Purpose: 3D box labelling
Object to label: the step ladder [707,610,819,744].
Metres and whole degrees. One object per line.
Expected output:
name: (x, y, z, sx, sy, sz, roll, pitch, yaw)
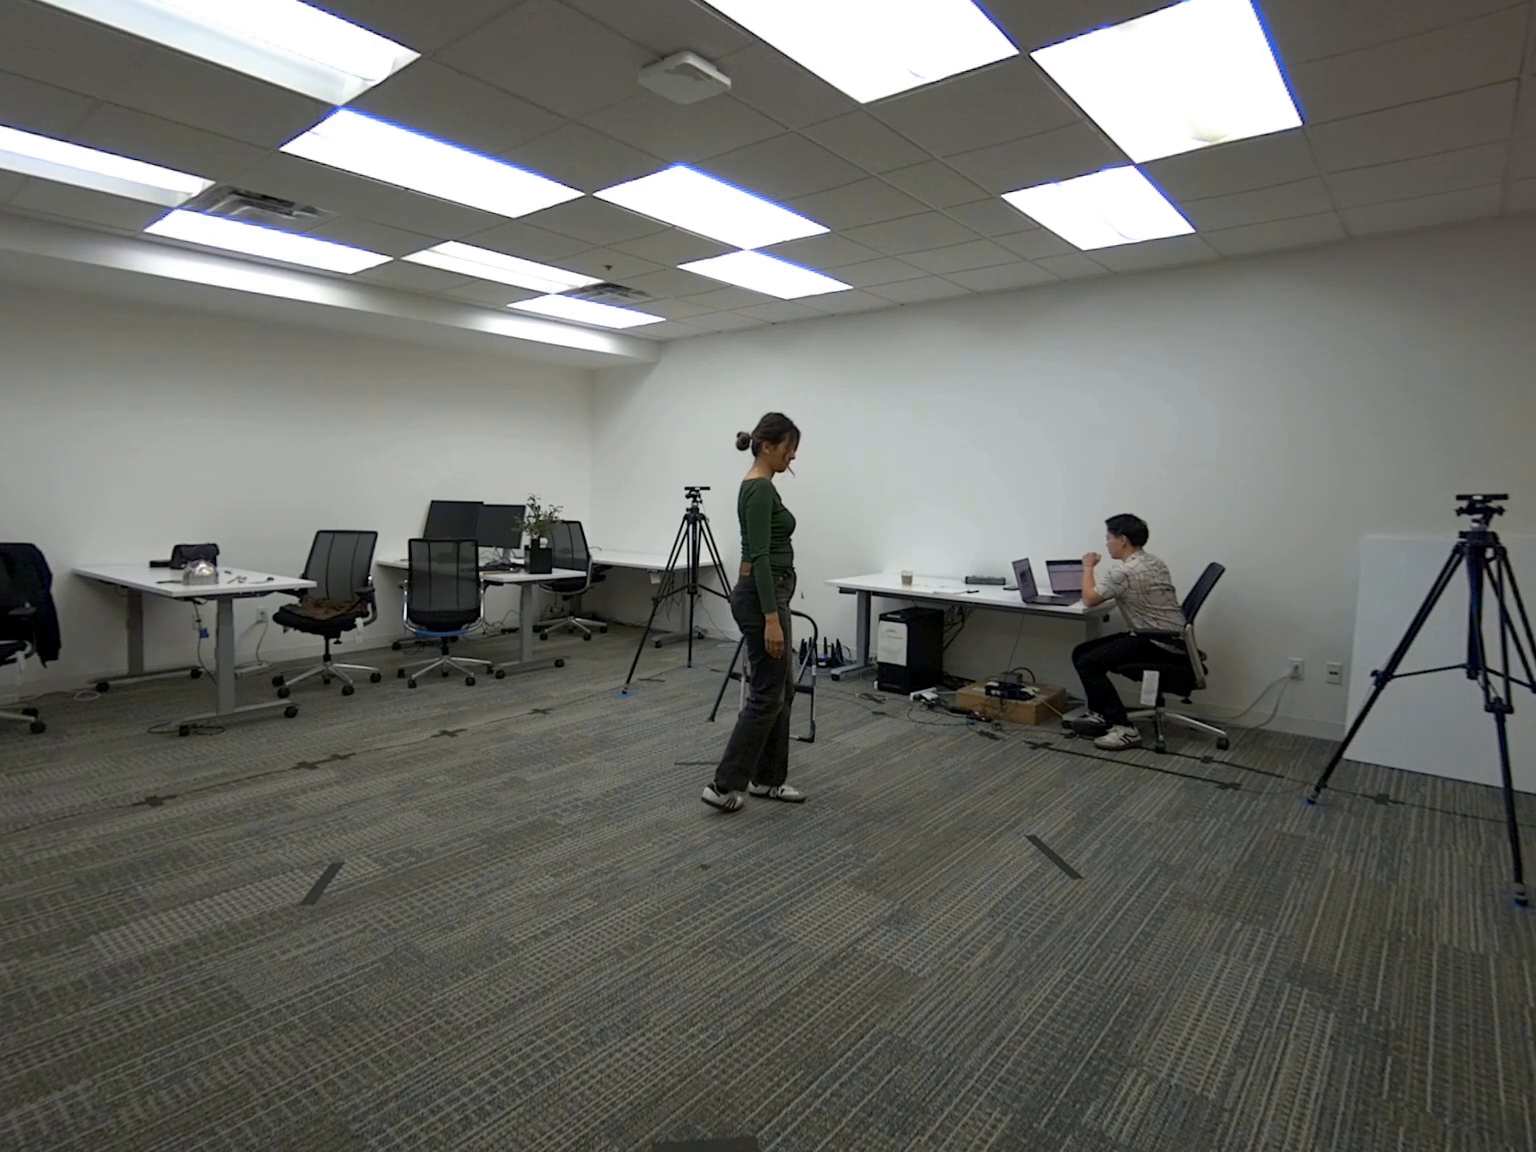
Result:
step ladder: (0.015, 0.461, 4.175, 0.418, 0.609, 0.358, 12, -6, -28)
